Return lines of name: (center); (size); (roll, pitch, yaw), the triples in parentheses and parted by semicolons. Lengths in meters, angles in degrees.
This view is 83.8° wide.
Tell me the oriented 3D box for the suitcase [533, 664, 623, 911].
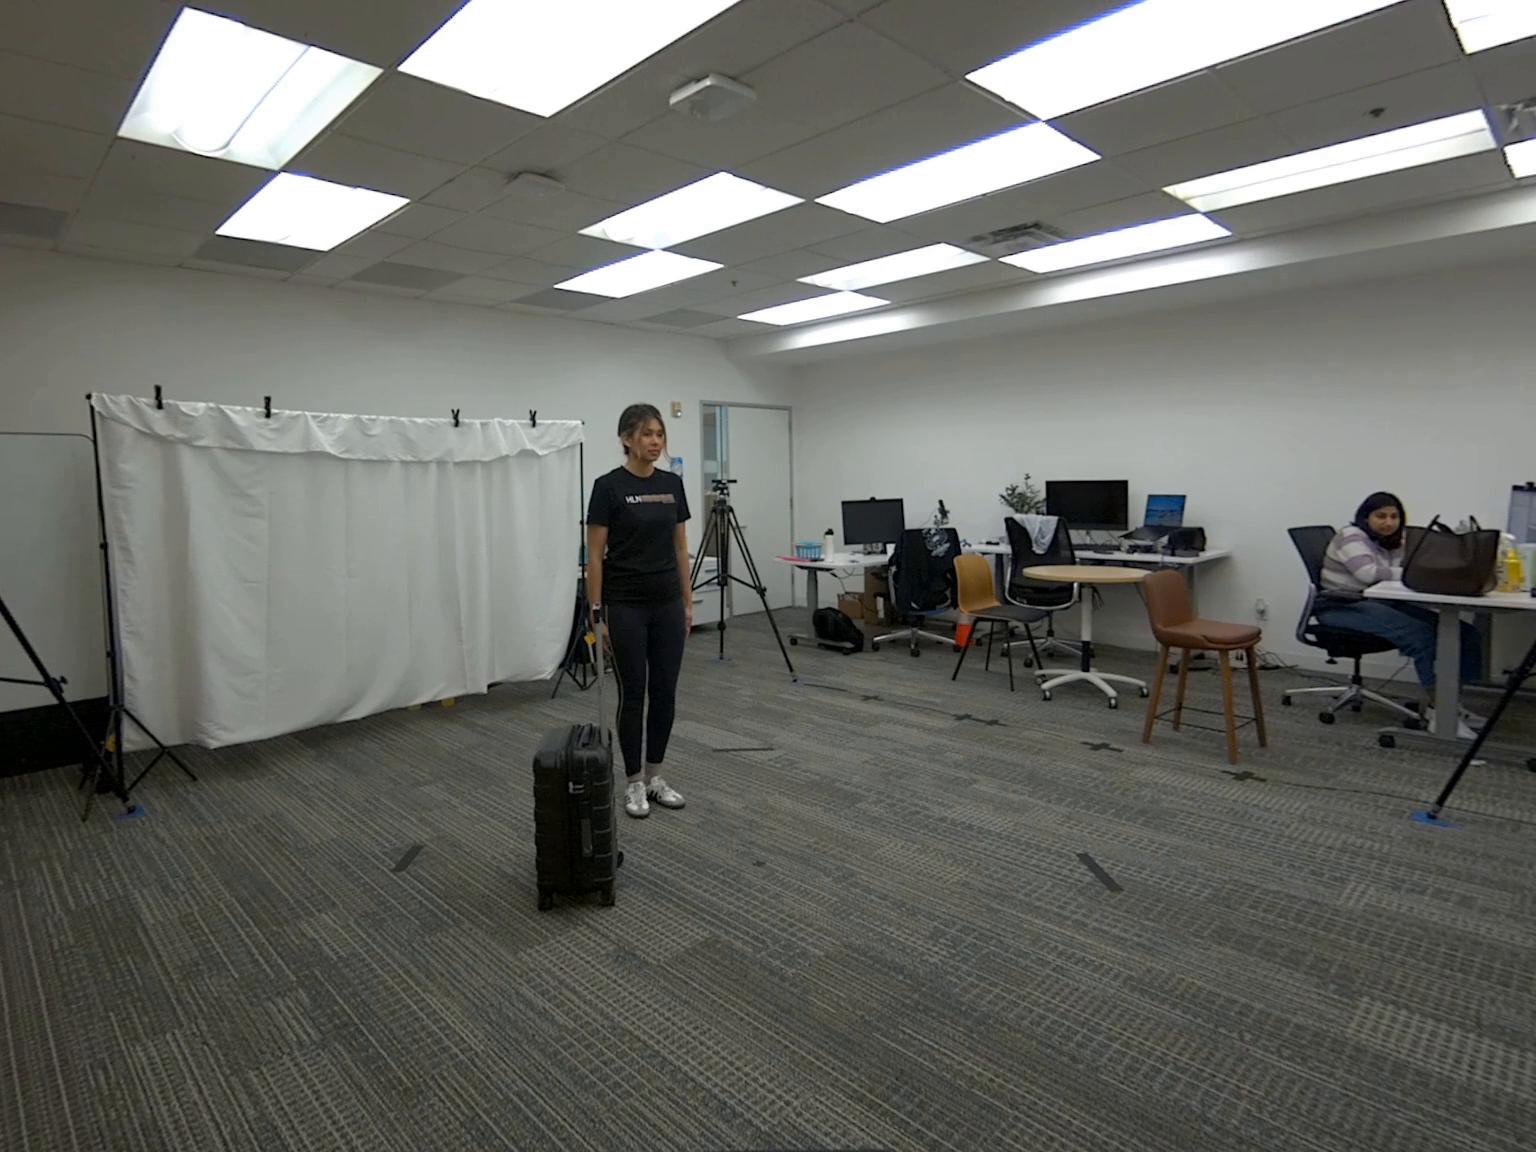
suitcase: (-0.662, 0.610, 2.913); (0.256, 0.974, 0.387); (-3, 5, -6)
